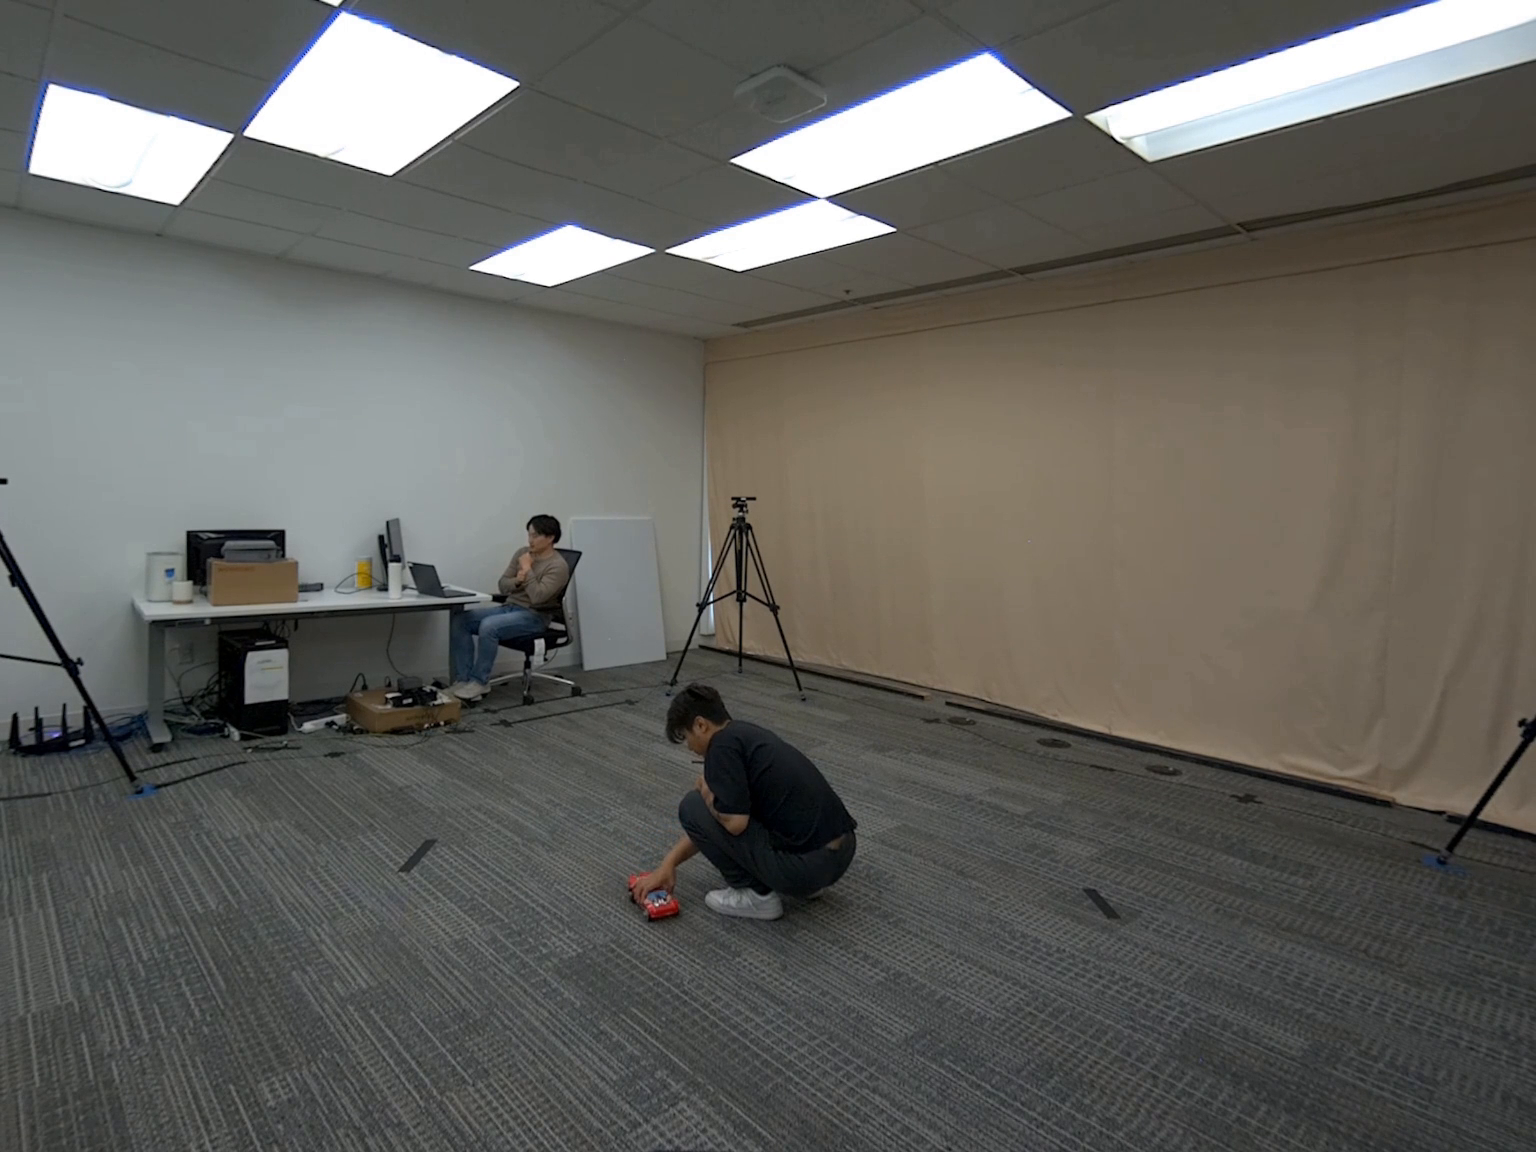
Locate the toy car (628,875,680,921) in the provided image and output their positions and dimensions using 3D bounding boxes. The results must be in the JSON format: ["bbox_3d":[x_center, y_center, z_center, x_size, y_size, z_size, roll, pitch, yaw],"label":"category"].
[{"bbox_3d":[-0.400,1.083,2.878,0.128,0.082,0.261,-2,16,-27],"label":"toy car"}]
